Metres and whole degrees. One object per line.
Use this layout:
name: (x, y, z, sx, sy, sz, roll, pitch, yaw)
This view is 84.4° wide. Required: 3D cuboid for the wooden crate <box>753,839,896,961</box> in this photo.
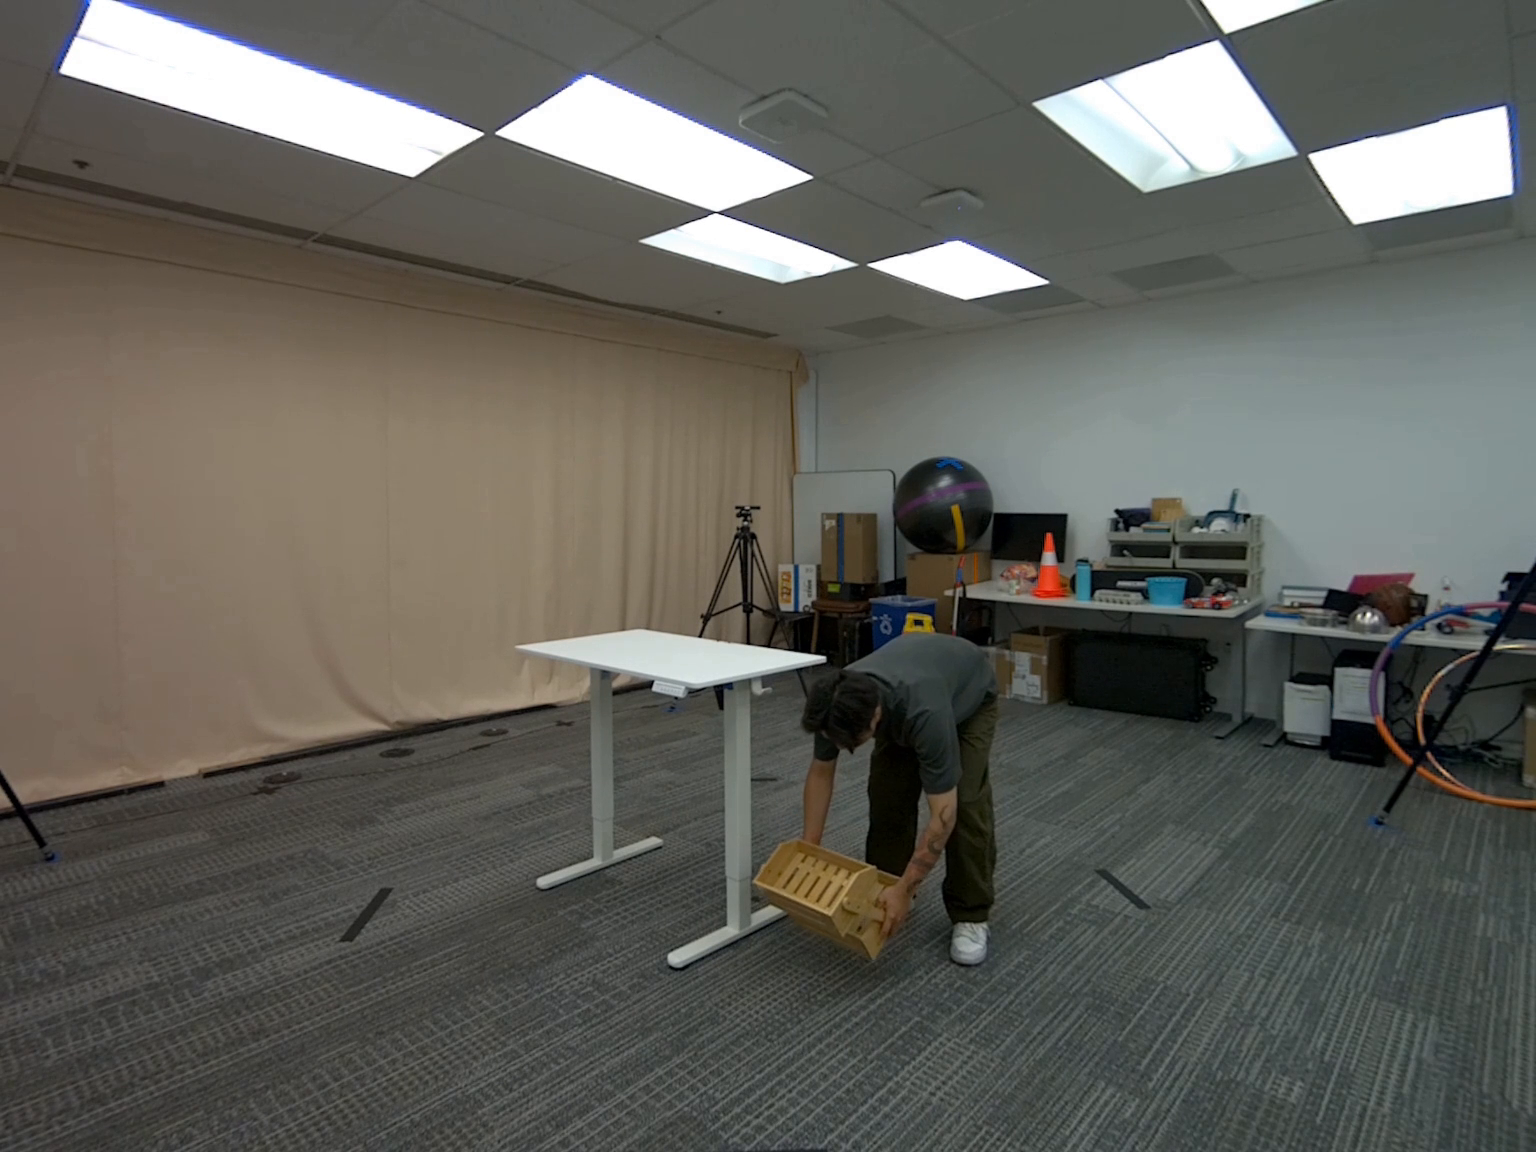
wooden crate: (0.207, 0.920, 2.497, 0.335, 0.267, 0.299, 0, 35, 45)
